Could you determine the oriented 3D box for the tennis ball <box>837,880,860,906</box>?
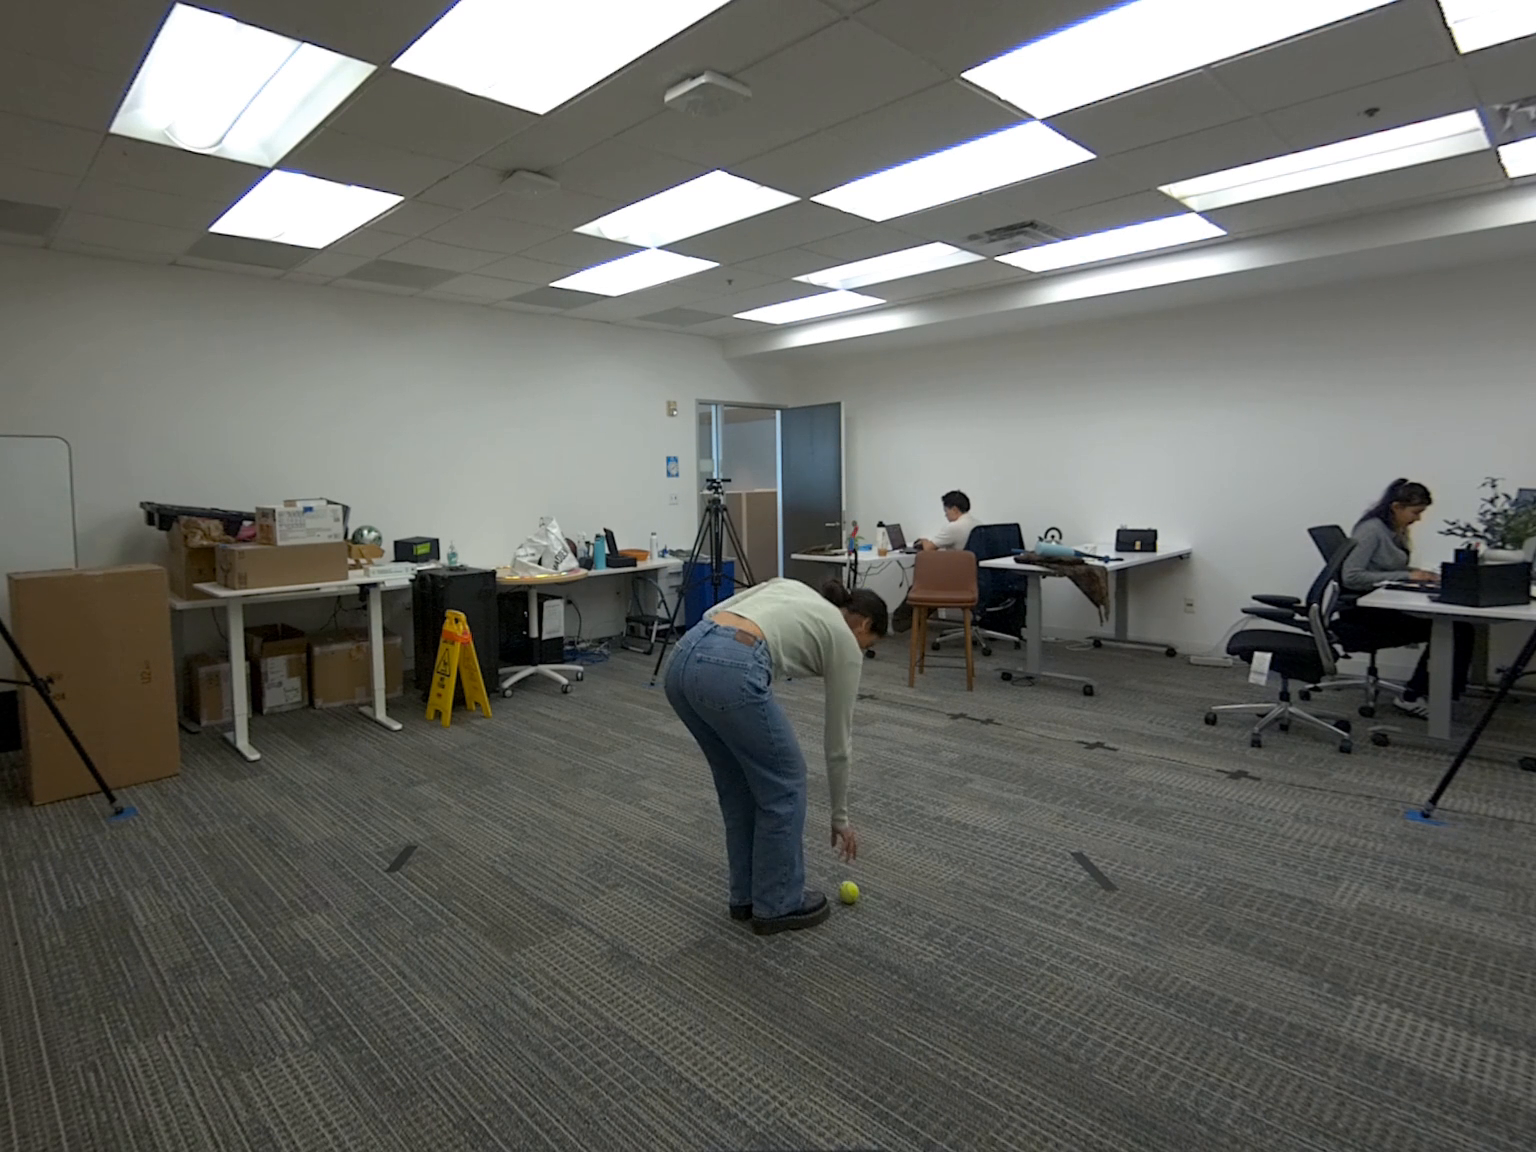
[{"bbox_3d":[0.260,1.032,2.807,0.066,0.066,0.067,-1,5,-2],"label":"tennis ball"}]
